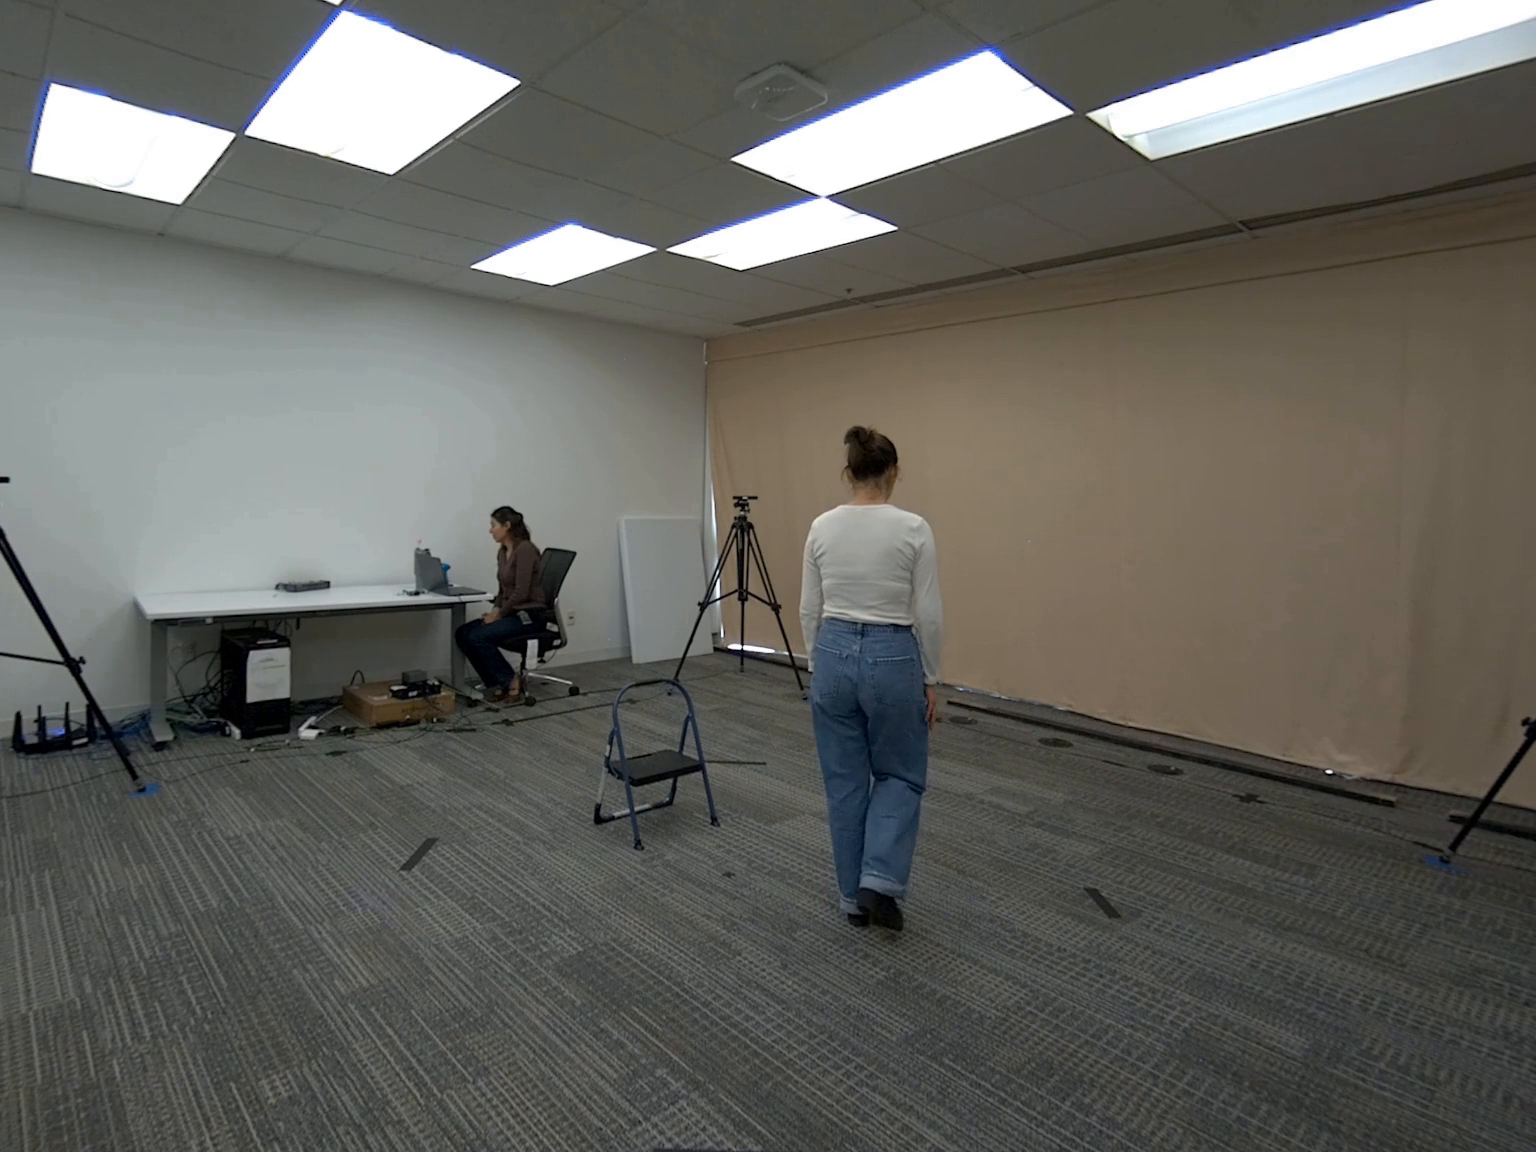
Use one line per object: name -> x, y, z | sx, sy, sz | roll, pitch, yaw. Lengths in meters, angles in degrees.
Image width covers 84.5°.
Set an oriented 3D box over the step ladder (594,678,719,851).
step ladder -> -0.472, 0.754, 3.553 | 0.421, 0.605, 0.358 | -2, 4, -43
